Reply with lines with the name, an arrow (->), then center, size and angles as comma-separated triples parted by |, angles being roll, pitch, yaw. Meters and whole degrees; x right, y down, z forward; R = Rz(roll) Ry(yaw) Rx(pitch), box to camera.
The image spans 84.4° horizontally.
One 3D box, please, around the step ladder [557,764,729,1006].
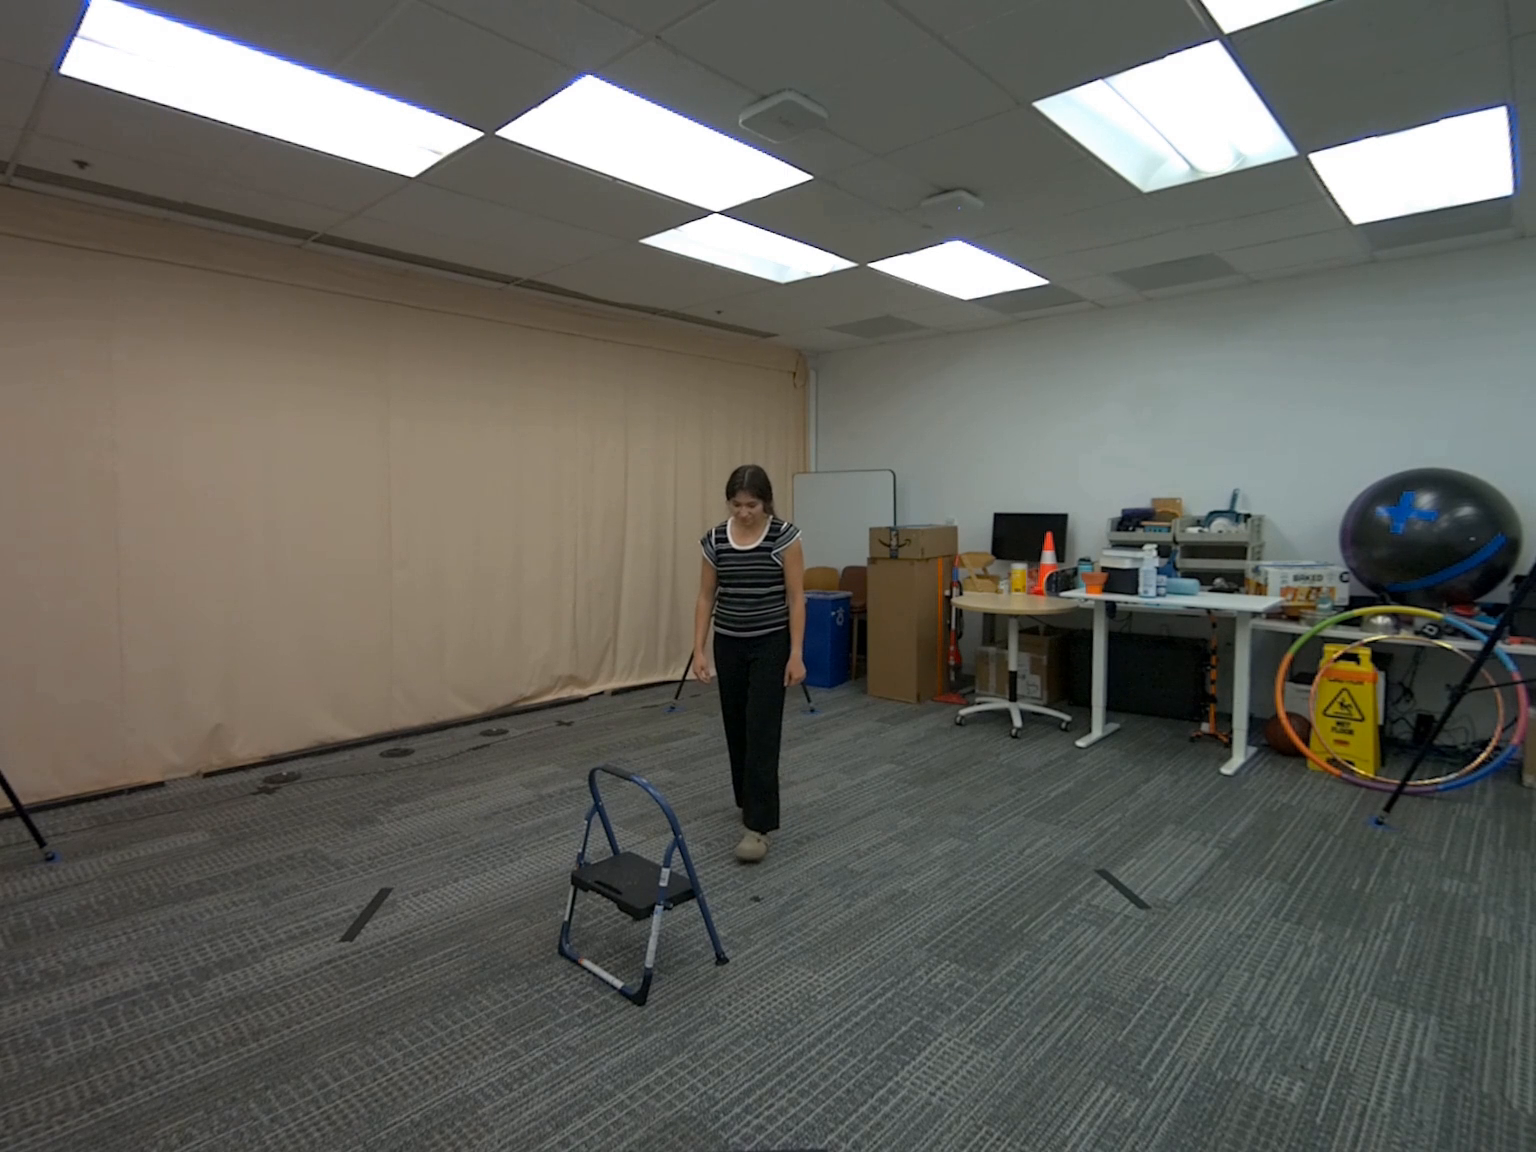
step ladder -> -0.394, 0.878, 2.588 | 0.445, 0.605, 0.338 | 3, 4, 43
